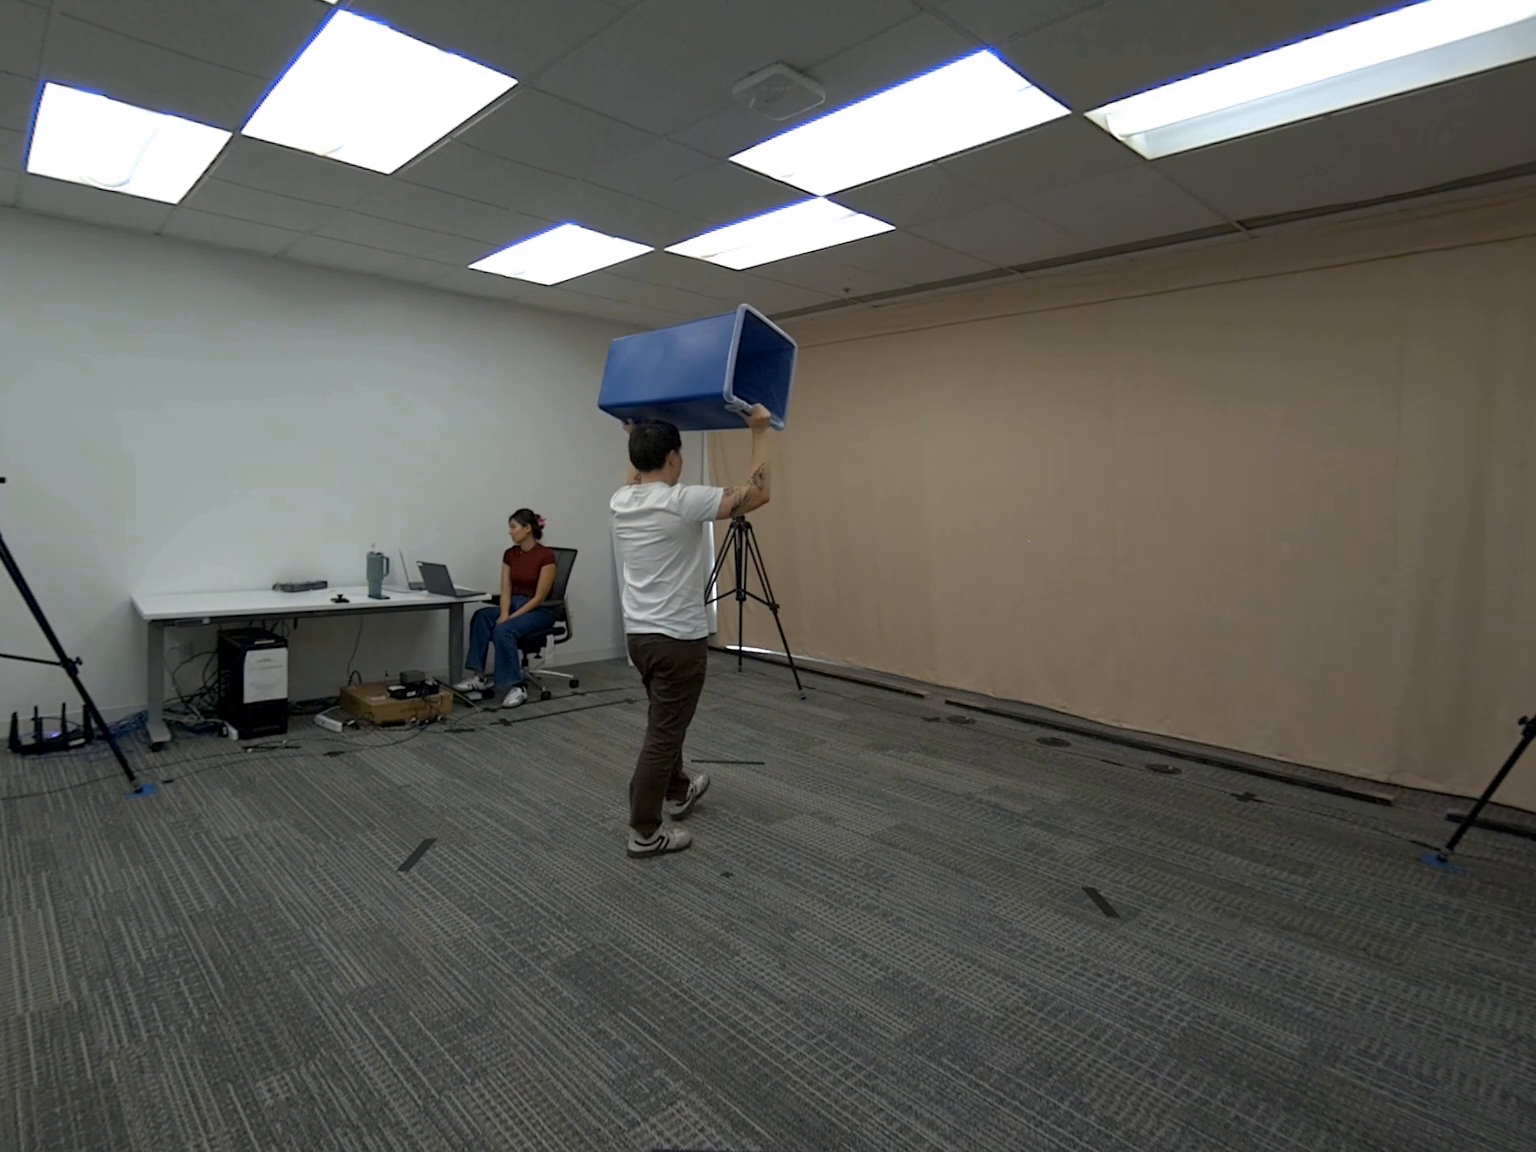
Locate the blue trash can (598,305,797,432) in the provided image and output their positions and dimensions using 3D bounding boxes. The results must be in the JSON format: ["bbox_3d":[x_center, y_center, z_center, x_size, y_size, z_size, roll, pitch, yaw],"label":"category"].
[{"bbox_3d":[-0.295,-0.782,3.332,0.731,0.380,0.363,3,-11,38],"label":"blue trash can"}]
